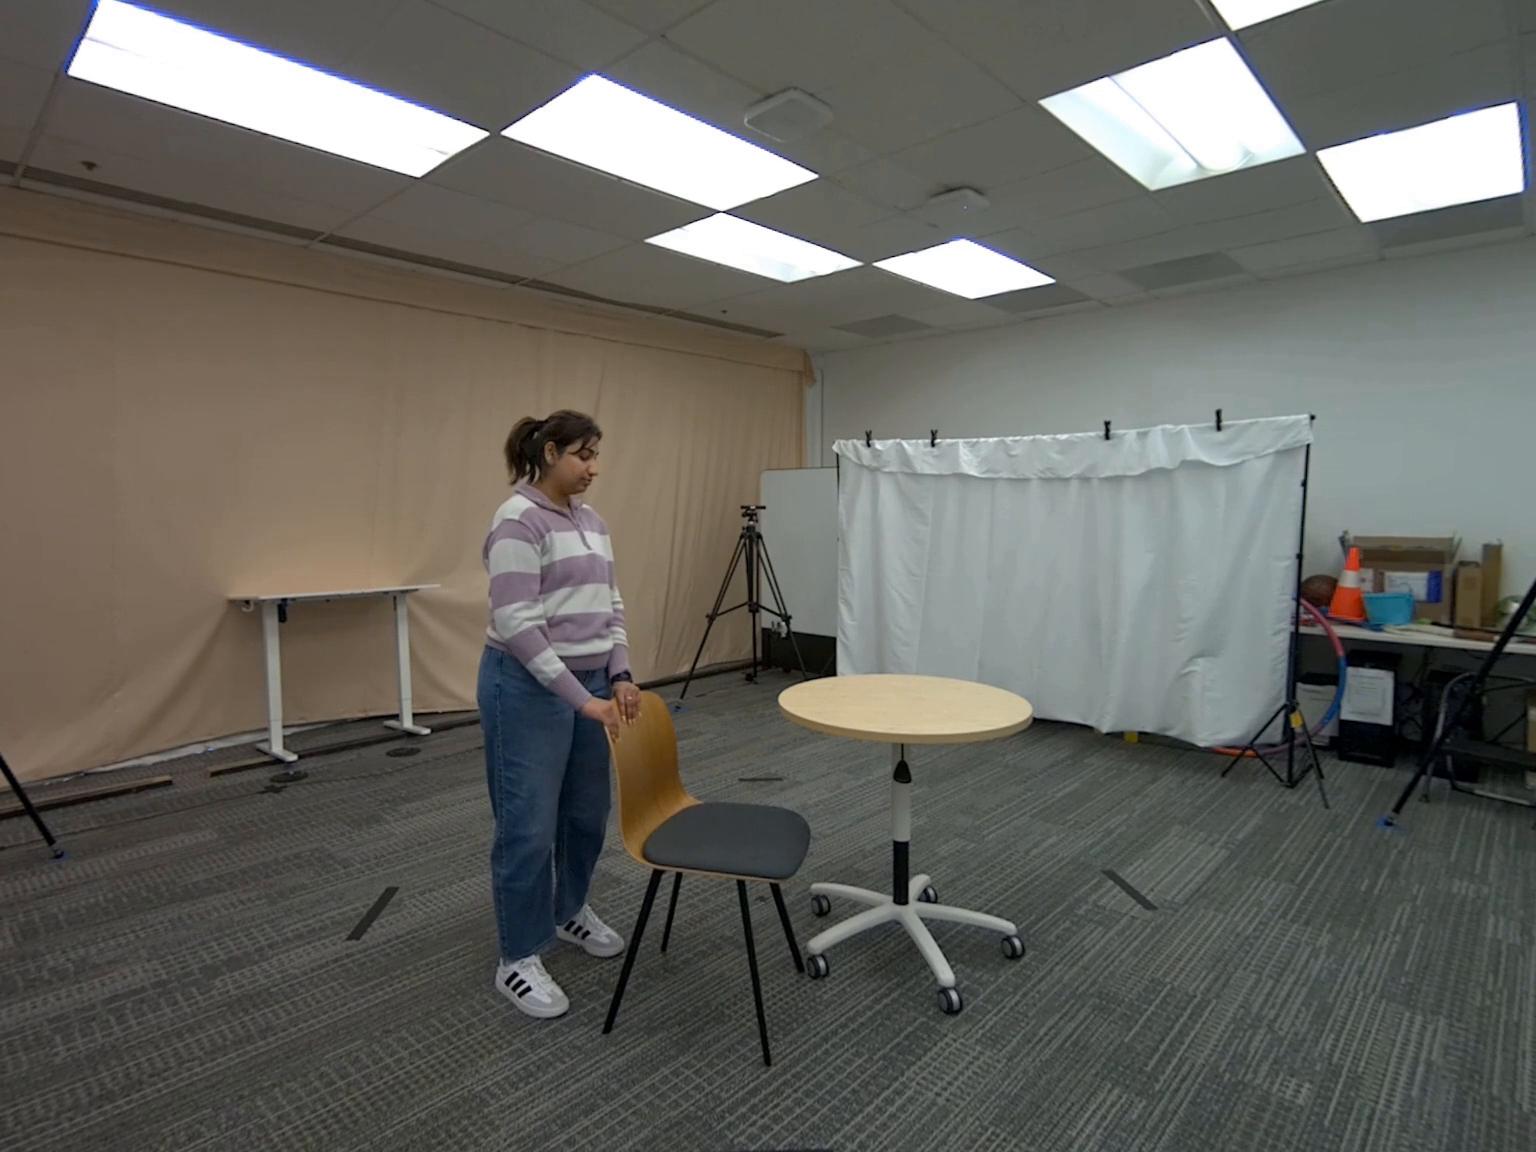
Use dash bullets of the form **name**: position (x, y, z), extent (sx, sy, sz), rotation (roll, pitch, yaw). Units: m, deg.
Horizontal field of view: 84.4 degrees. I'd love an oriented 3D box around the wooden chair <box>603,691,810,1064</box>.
- **wooden chair**: position (-0.148, 0.773, 2.332), extent (0.533, 0.876, 0.470), rotation (-4, 2, 18)
